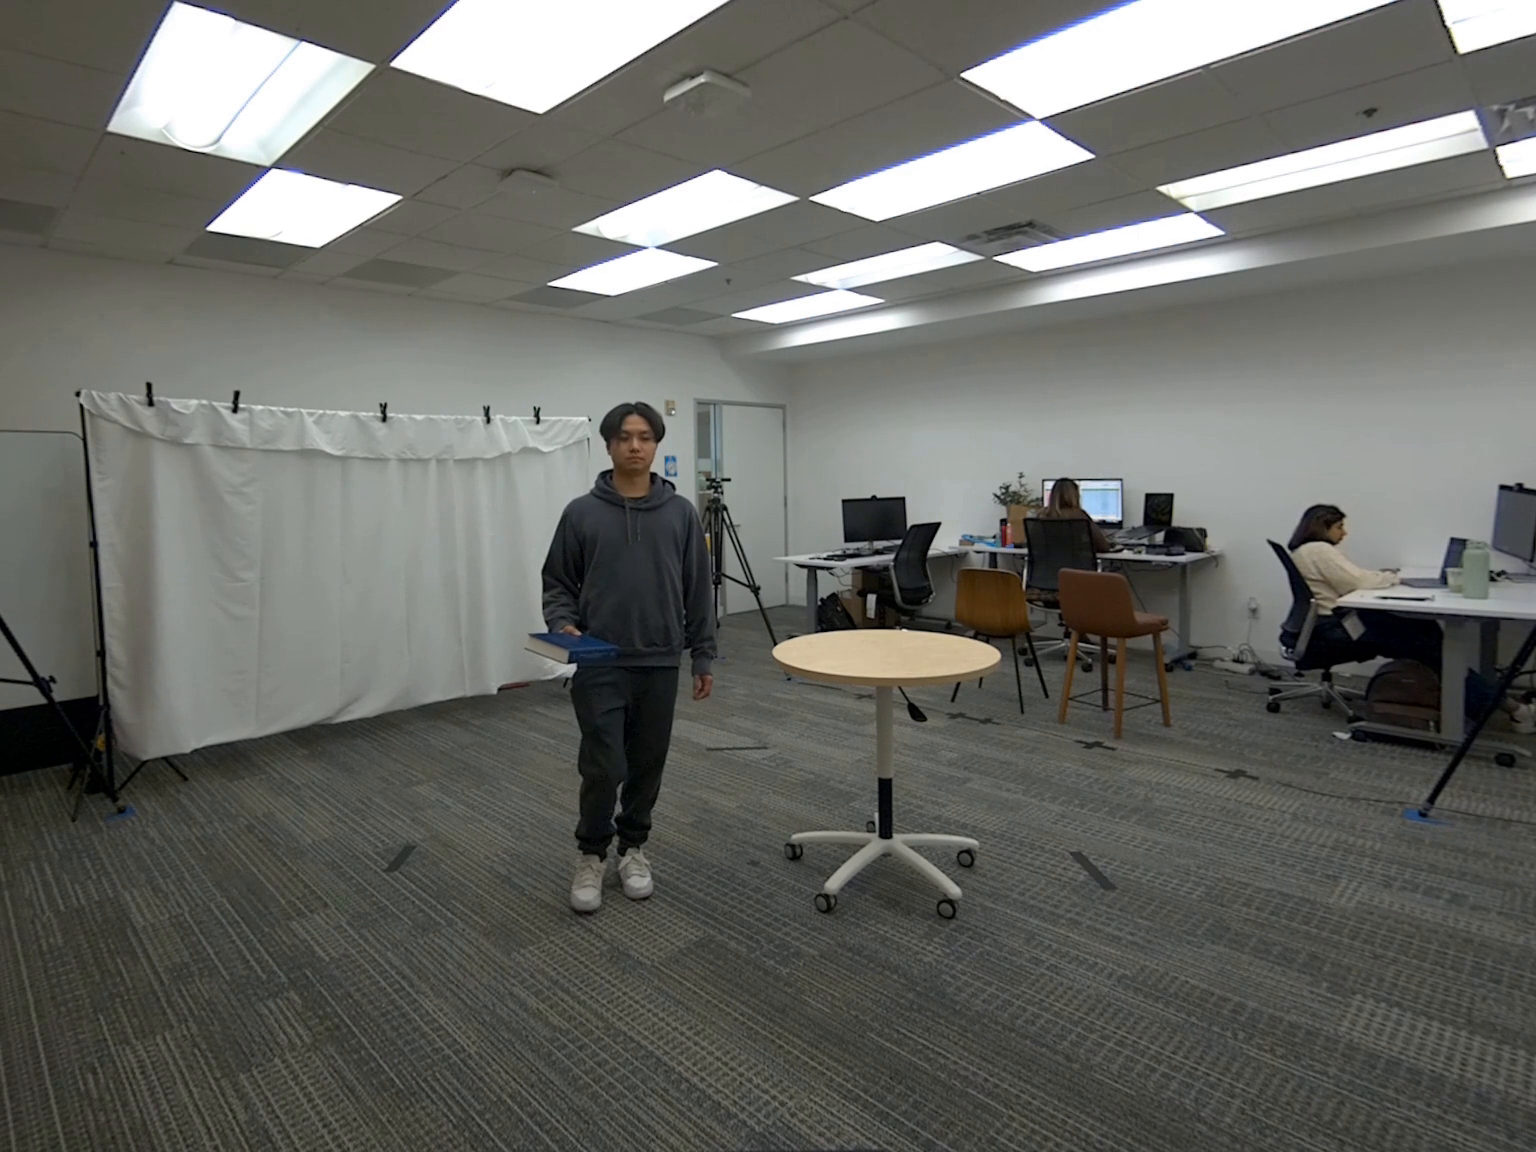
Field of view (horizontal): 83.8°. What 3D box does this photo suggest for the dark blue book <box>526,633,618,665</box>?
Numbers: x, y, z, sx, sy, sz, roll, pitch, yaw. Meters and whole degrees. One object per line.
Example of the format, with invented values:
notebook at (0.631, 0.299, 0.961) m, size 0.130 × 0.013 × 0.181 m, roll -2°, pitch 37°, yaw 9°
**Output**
dark blue book at (-0.583, 0.215, 2.542) m, size 0.167 × 0.045 × 0.240 m, roll 14°, pitch 4°, yaw 19°
